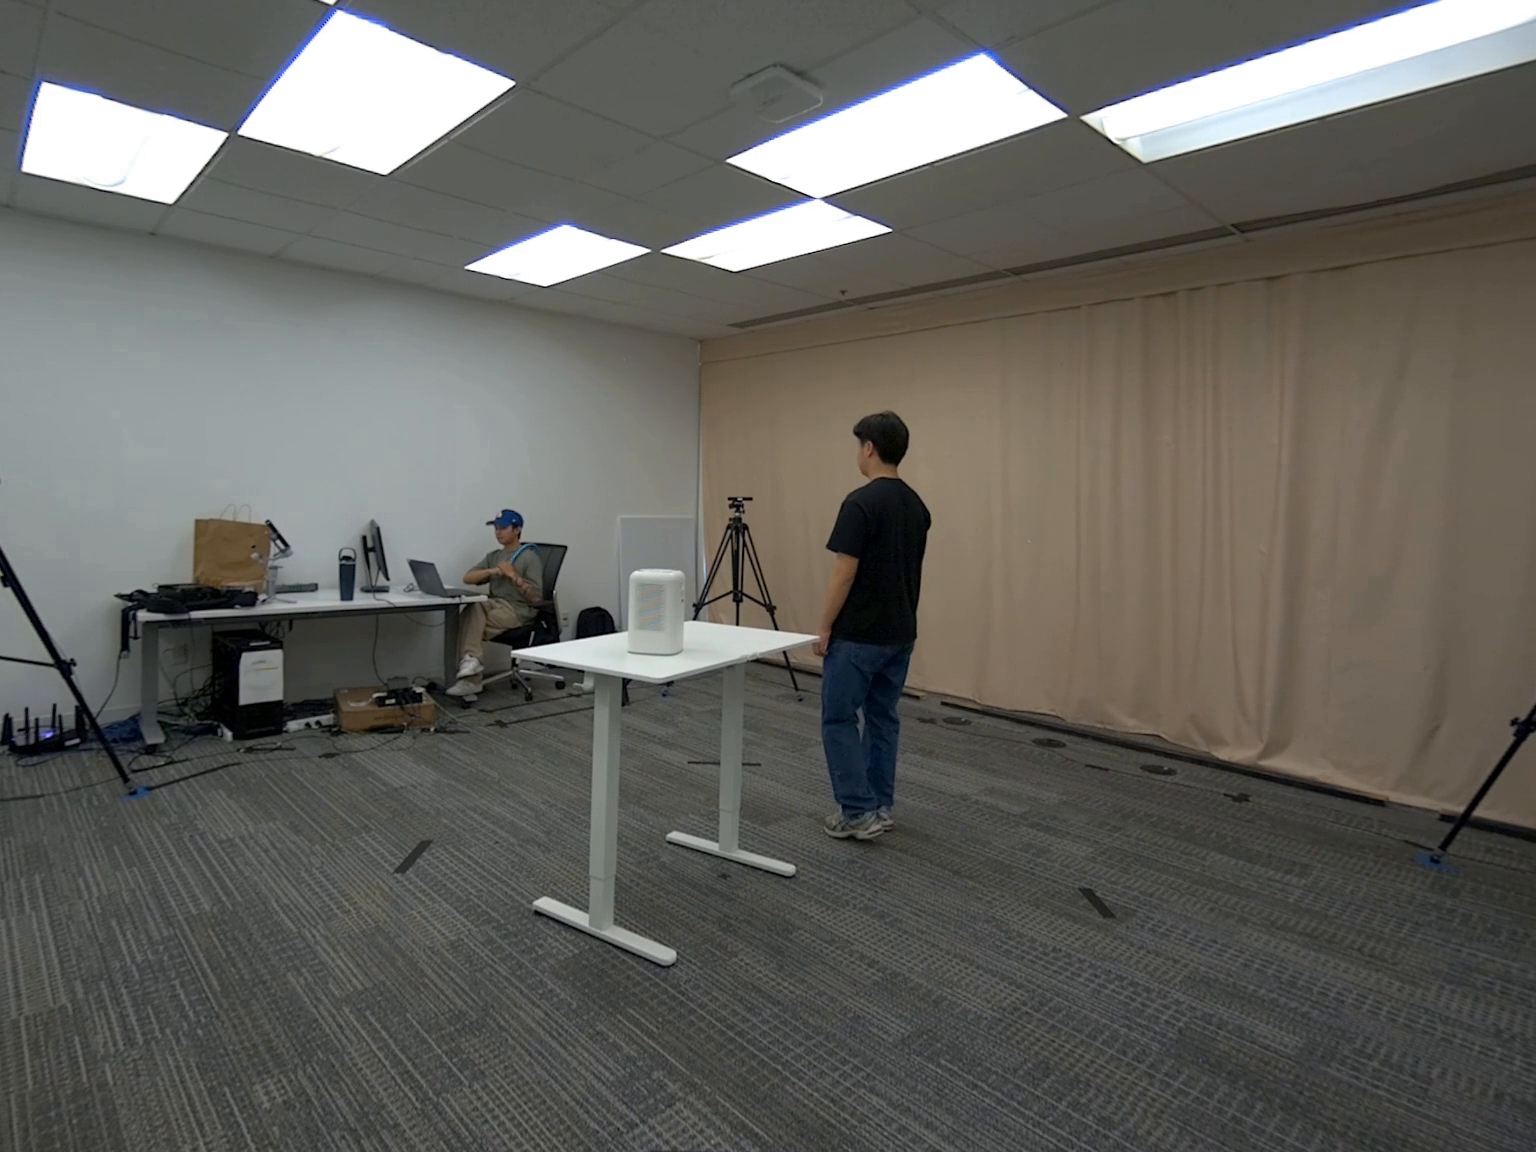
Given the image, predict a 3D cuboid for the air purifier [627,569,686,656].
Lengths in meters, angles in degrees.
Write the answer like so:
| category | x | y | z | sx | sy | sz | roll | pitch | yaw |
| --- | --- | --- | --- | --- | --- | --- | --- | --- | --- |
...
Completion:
| category | x | y | z | sx | sy | sz | roll | pitch | yaw |
| --- | --- | --- | --- | --- | --- | --- | --- | --- | --- |
| air purifier | -0.371 | 0.116 | 2.761 | 0.173 | 0.265 | 0.170 | 3 | 4 | 10 |
